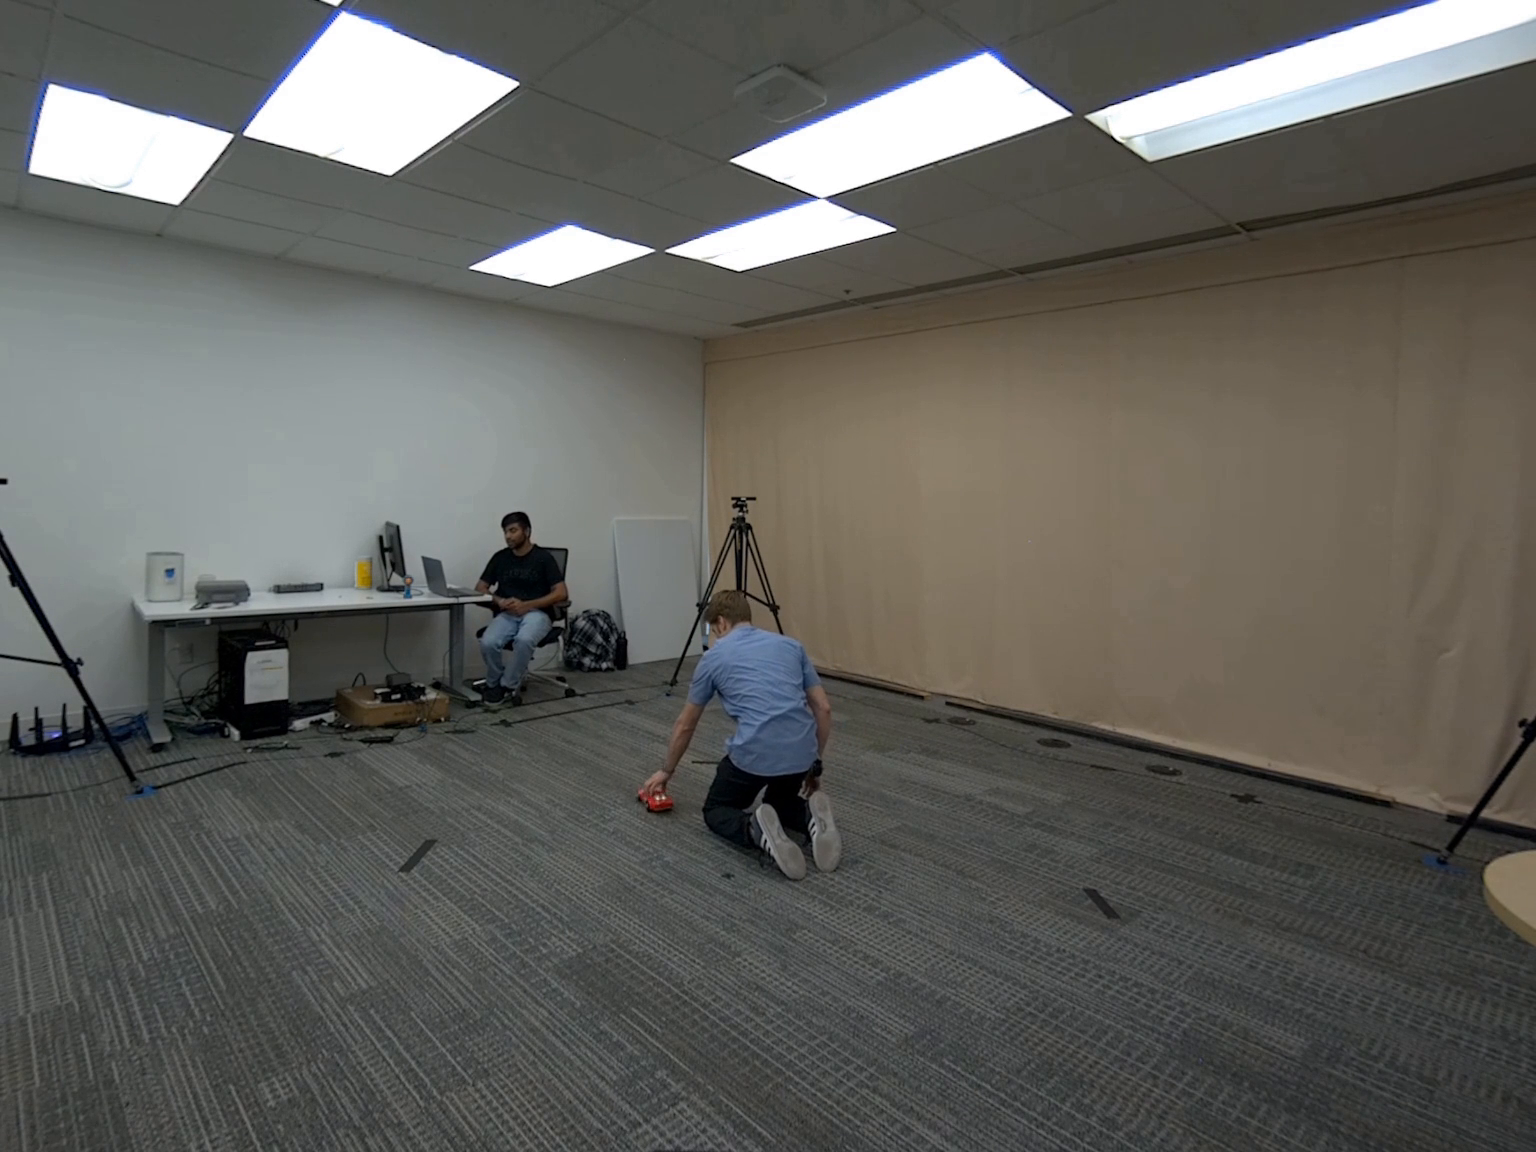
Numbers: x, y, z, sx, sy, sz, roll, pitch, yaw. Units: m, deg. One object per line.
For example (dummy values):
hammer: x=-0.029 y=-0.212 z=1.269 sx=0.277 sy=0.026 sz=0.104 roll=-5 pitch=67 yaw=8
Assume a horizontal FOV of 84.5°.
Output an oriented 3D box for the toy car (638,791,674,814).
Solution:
toy car: x=-0.507 y=1.001 z=3.797 sx=0.128 sy=0.083 sz=0.258 roll=0 pitch=-6 yaw=-24
